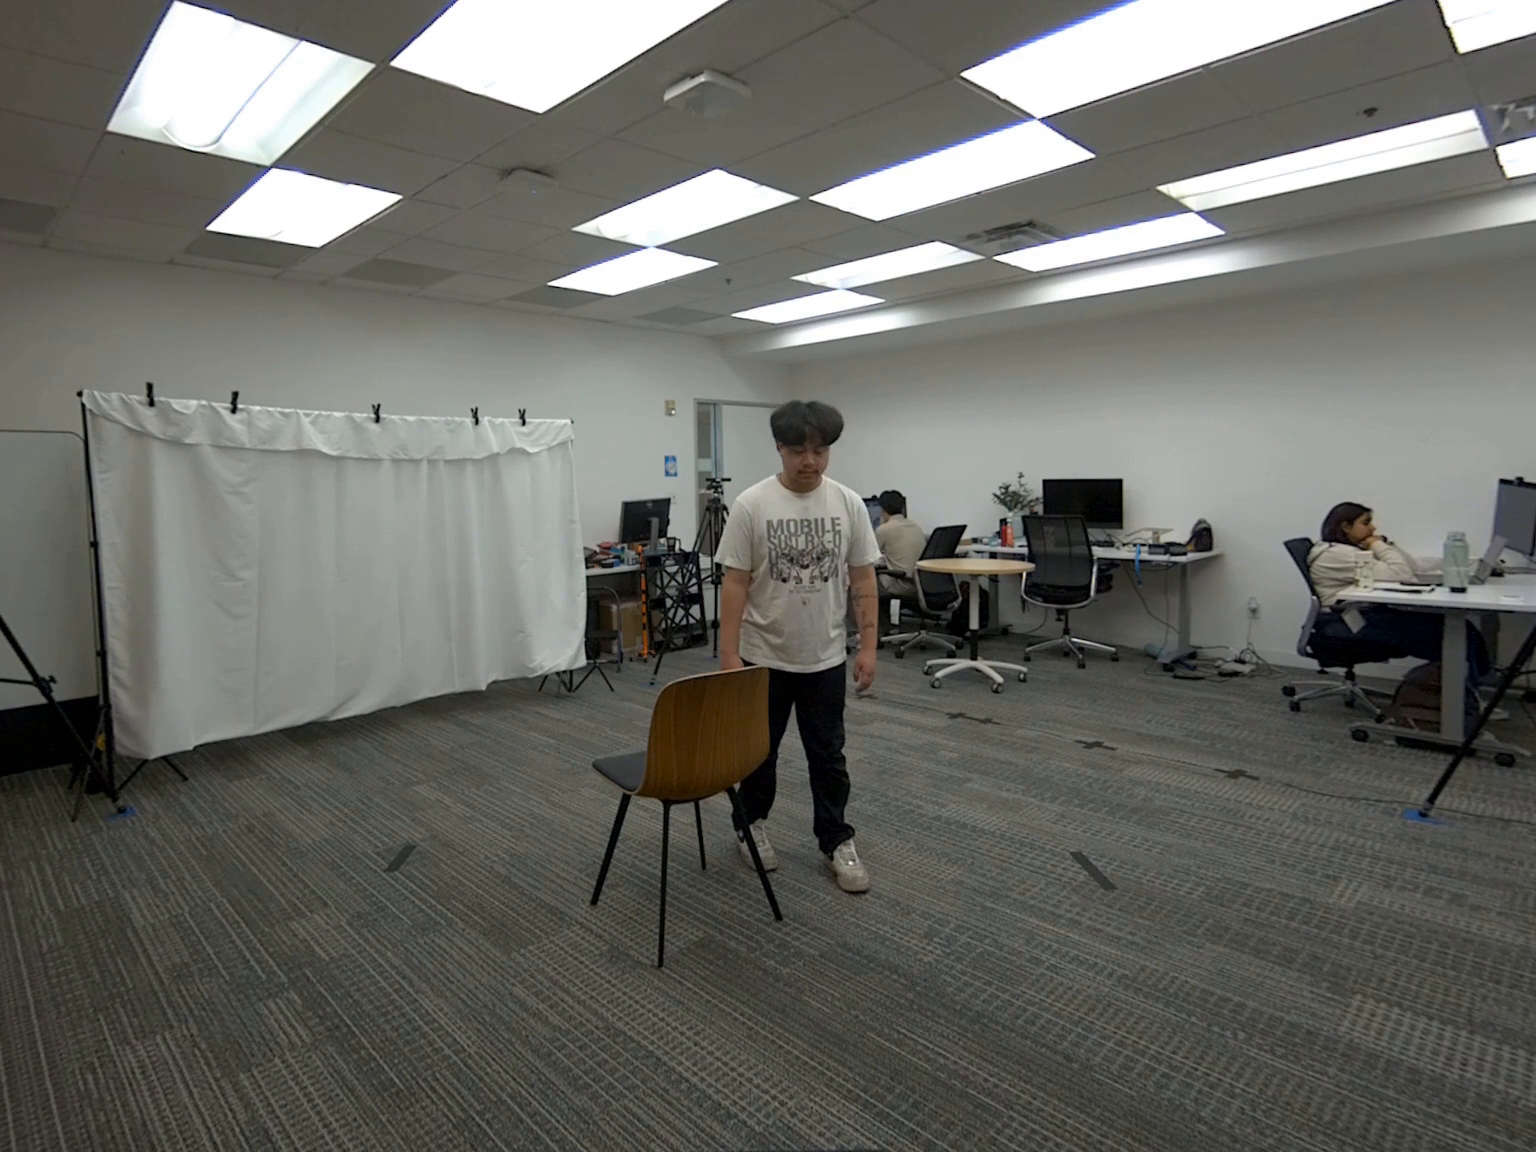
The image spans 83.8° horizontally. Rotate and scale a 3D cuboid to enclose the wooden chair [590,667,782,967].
[{"bbox_3d":[-0.283,0.664,2.730,0.466,0.871,0.540,-5,10,-36],"label":"wooden chair"}]
